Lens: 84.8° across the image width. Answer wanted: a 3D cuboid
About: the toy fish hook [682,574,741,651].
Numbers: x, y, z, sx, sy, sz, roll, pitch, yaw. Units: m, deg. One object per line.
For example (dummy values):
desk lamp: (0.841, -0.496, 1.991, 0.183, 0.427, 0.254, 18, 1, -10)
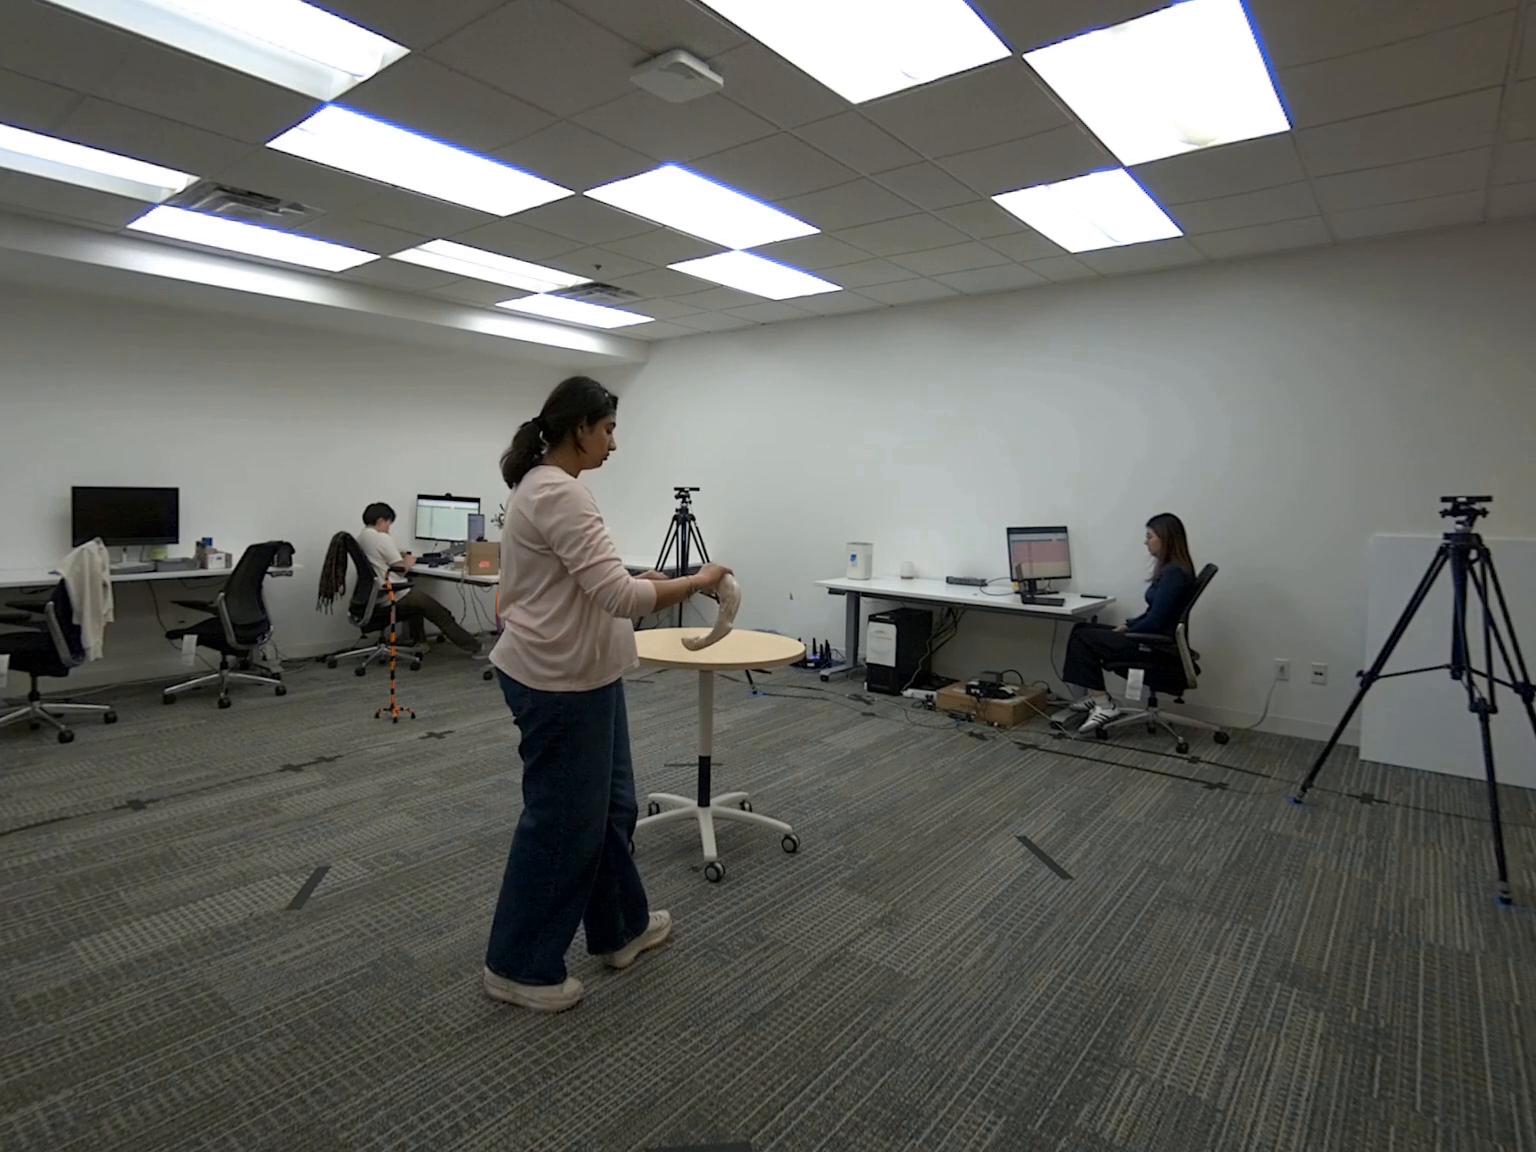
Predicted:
toy fish hook: (-0.267, 0.092, 2.408, 0.522, 0.227, 0.046, -1, -26, 46)
